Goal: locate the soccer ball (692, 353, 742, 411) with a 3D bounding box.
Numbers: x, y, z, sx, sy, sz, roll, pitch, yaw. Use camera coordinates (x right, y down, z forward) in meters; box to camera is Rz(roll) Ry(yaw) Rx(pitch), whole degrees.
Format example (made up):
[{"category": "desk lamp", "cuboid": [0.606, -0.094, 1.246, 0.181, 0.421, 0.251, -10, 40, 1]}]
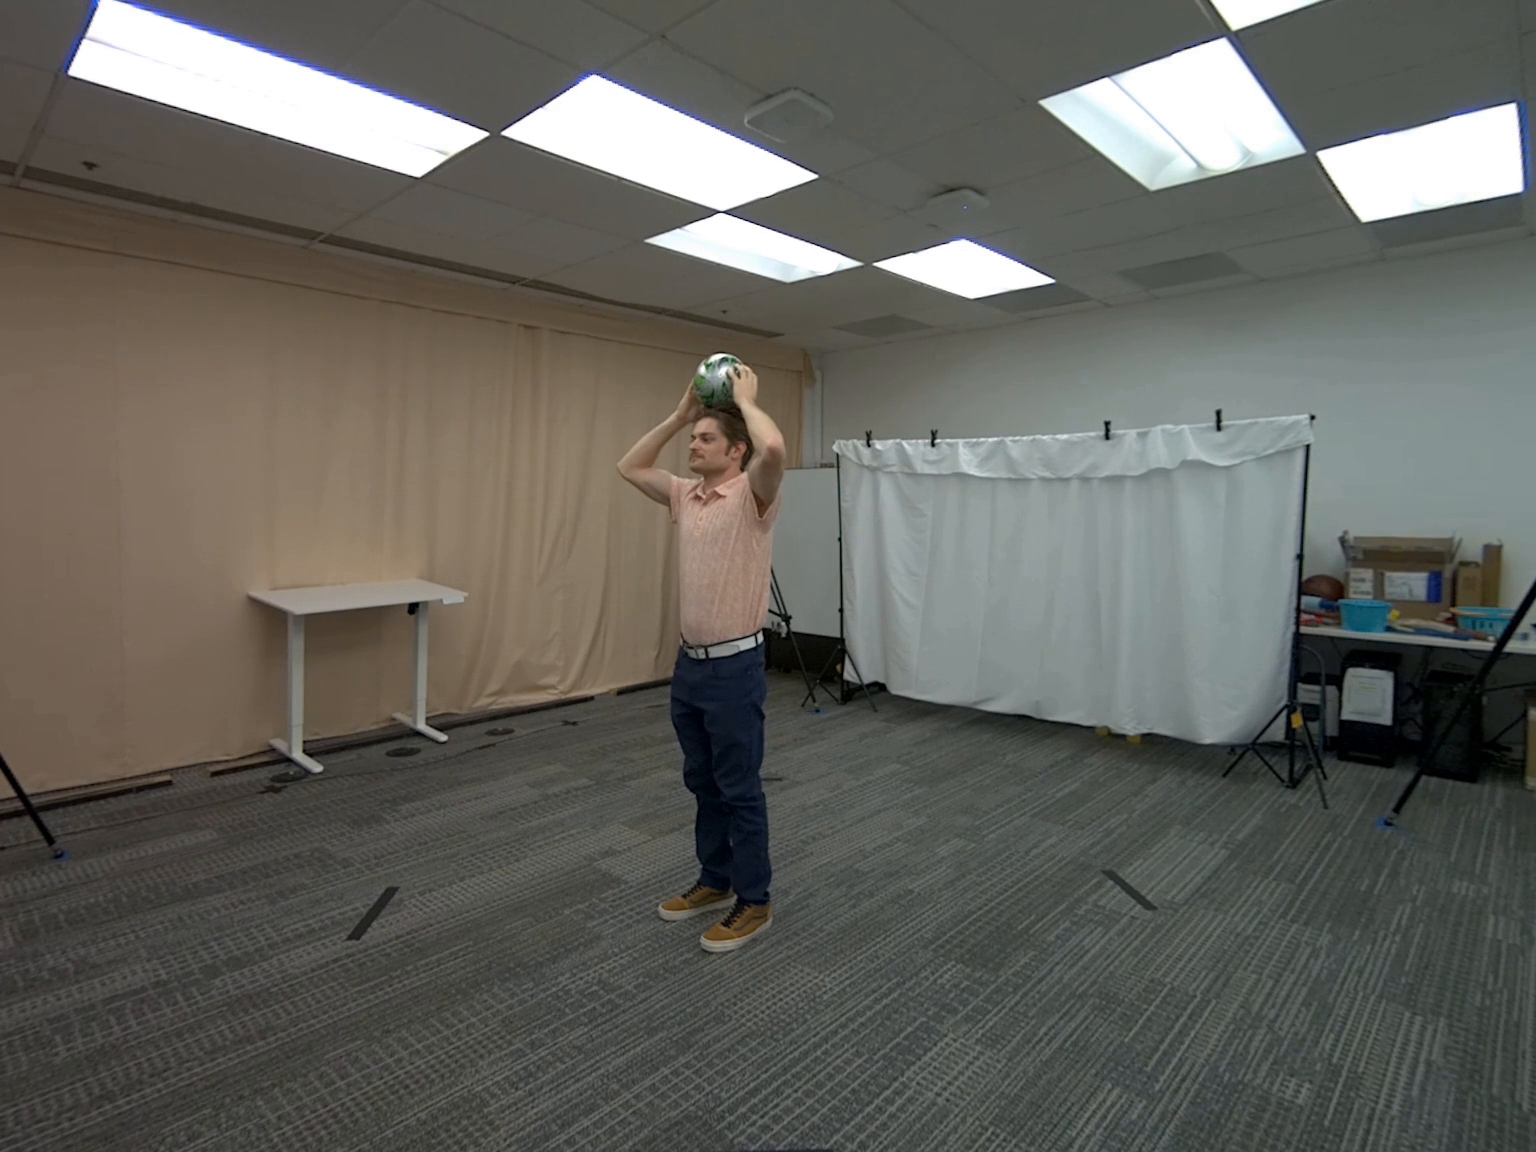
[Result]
[{"category": "soccer ball", "cuboid": [-0.145, -0.630, 2.759, 0.187, 0.187, 0.188, 0, 4, -2]}]
